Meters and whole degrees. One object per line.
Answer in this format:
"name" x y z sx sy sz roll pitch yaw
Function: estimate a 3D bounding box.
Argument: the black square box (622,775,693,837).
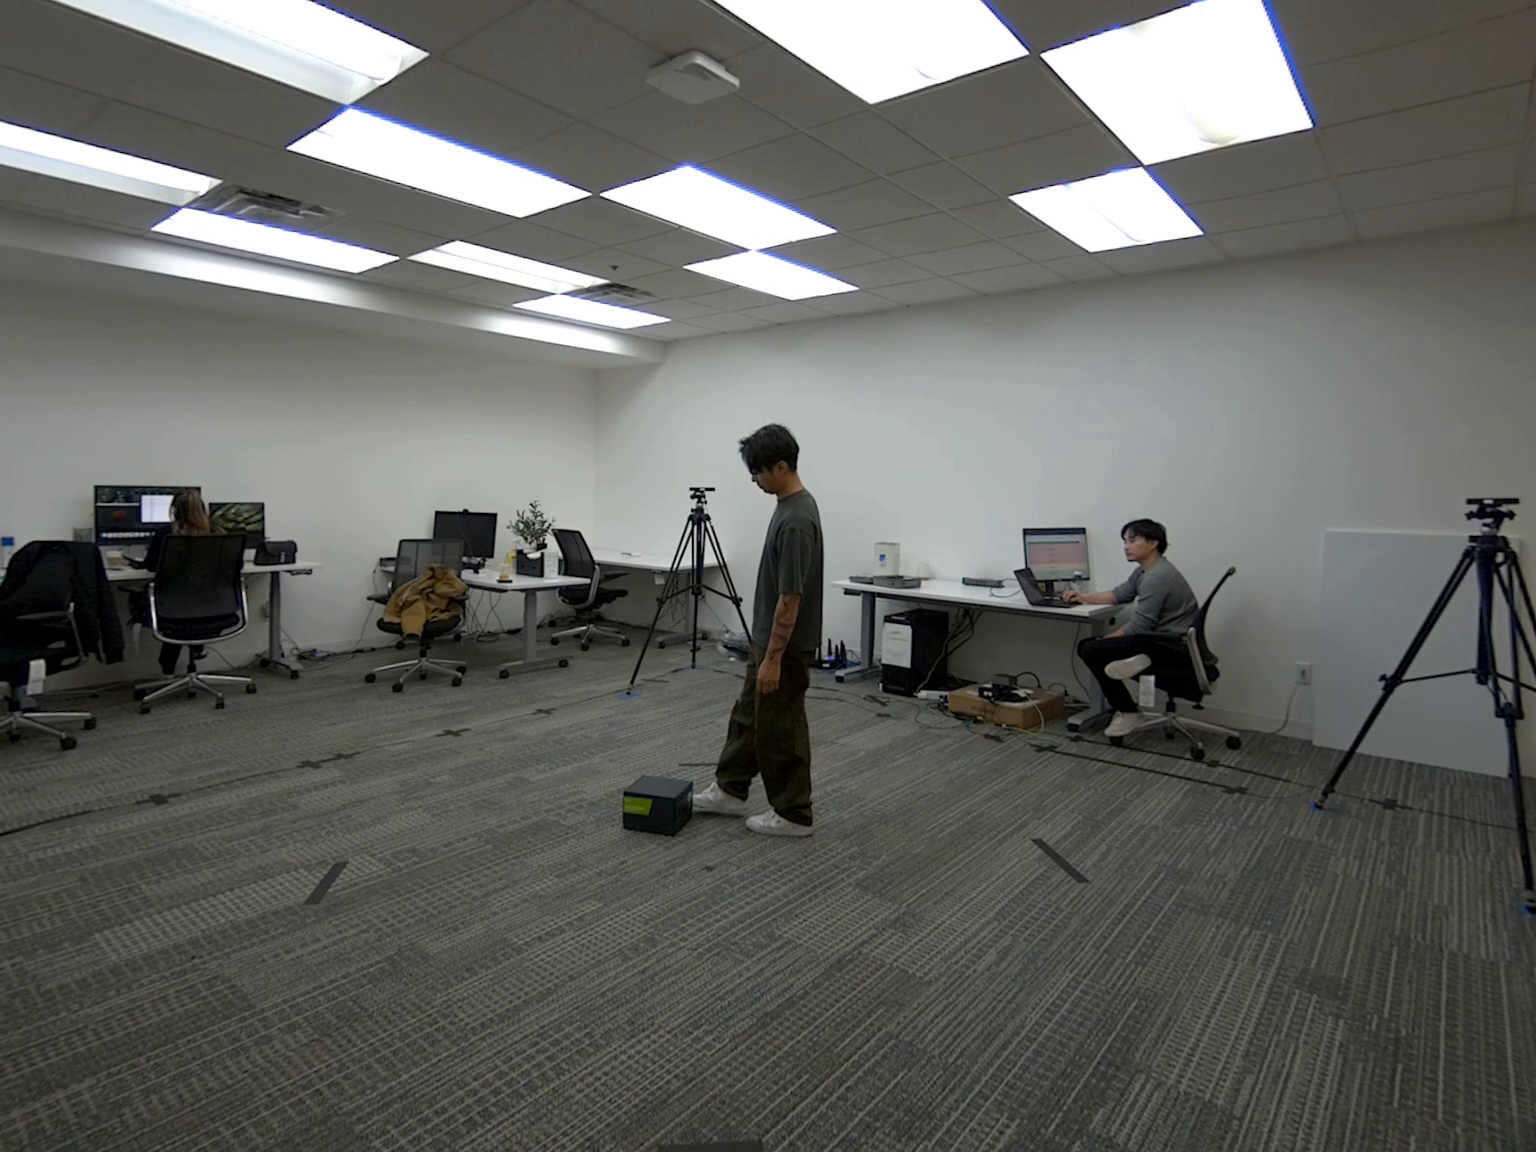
"black square box" -0.467 0.940 3.526 0.232 0.155 0.214 2 5 16
